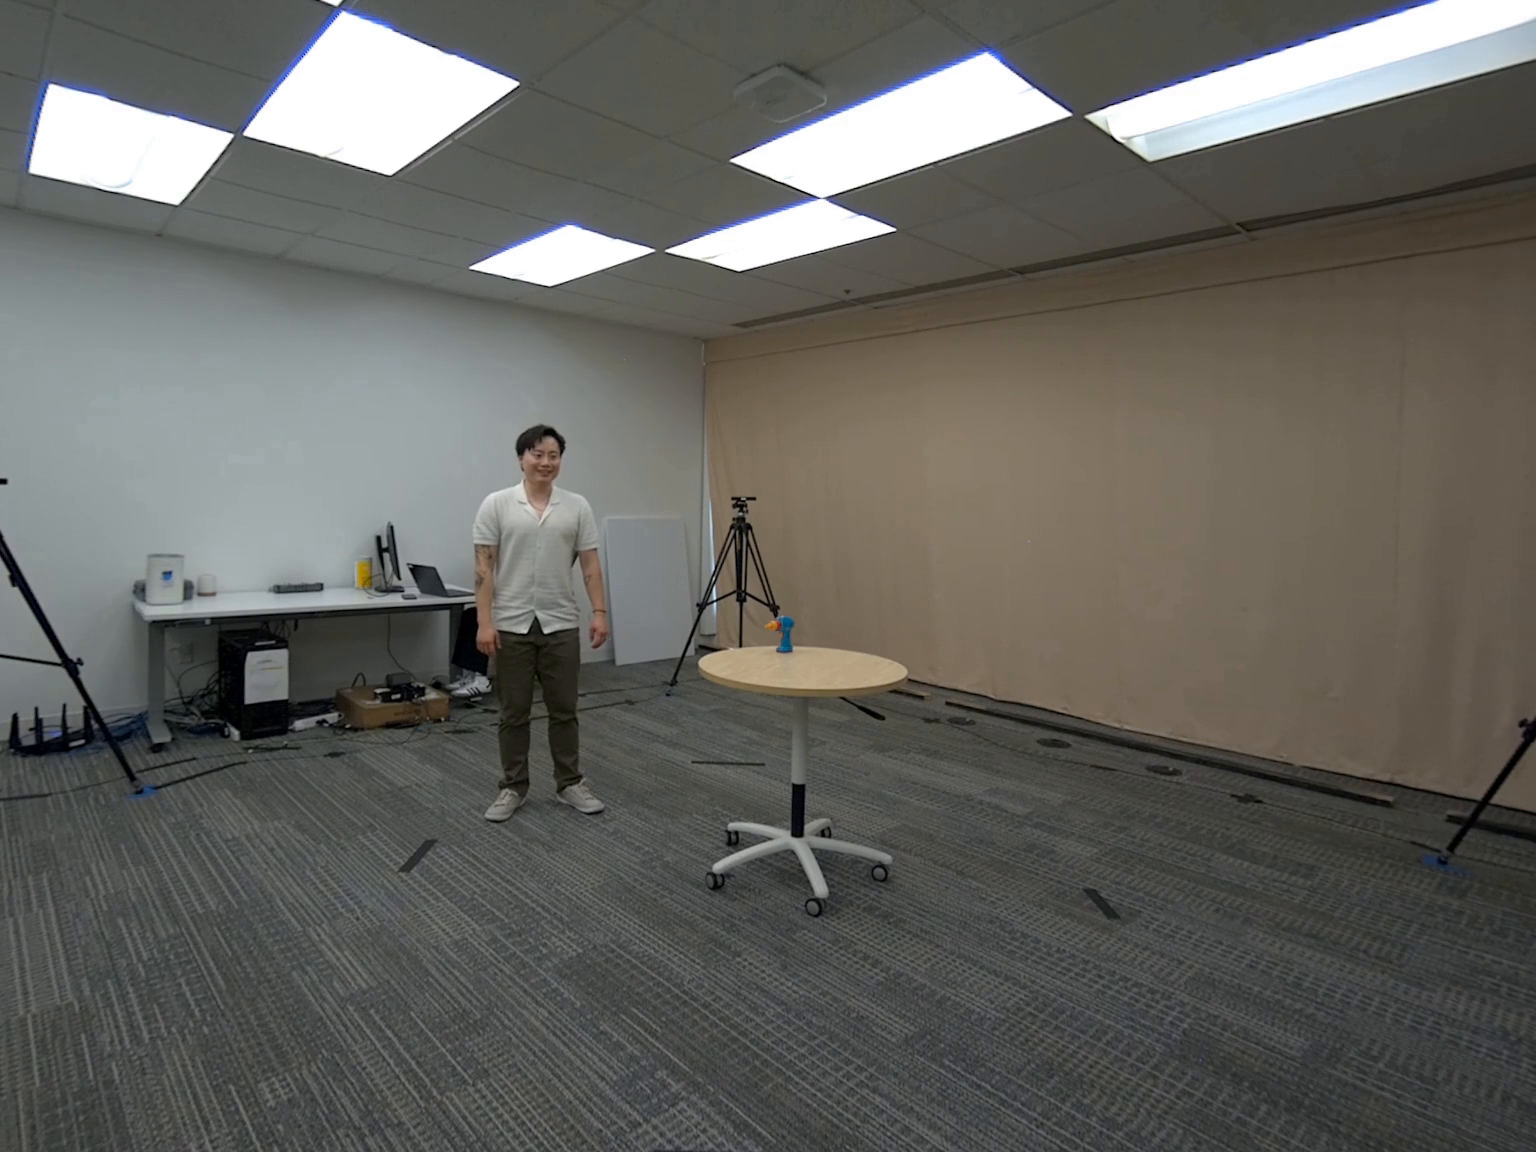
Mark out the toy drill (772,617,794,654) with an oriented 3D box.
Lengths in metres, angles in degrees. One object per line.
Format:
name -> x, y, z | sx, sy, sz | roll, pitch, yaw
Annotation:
toy drill -> 0.043, 0.233, 3.323 | 0.063, 0.145, 0.166 | 8, 6, 36
